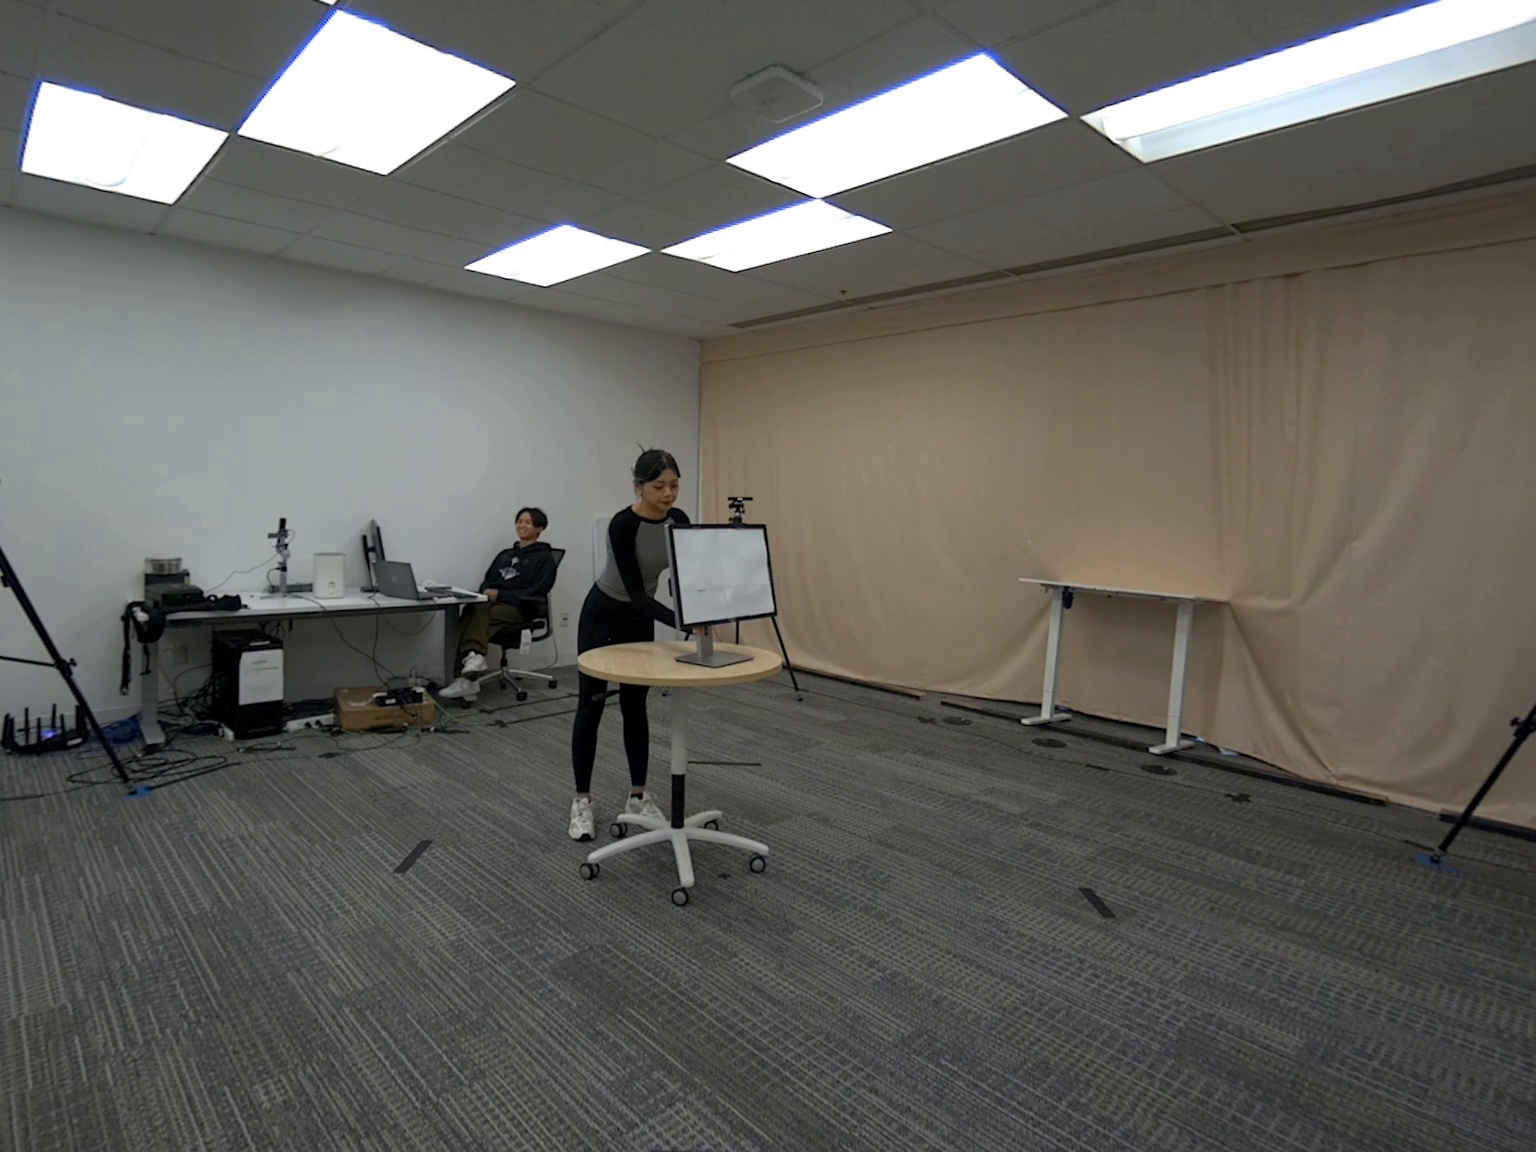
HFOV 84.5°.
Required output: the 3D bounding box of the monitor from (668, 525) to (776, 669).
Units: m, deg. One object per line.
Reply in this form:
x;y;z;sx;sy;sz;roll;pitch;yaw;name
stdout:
-0.196;0.068;3.115;0.179;0.514;0.518;13;9;36;monitor
